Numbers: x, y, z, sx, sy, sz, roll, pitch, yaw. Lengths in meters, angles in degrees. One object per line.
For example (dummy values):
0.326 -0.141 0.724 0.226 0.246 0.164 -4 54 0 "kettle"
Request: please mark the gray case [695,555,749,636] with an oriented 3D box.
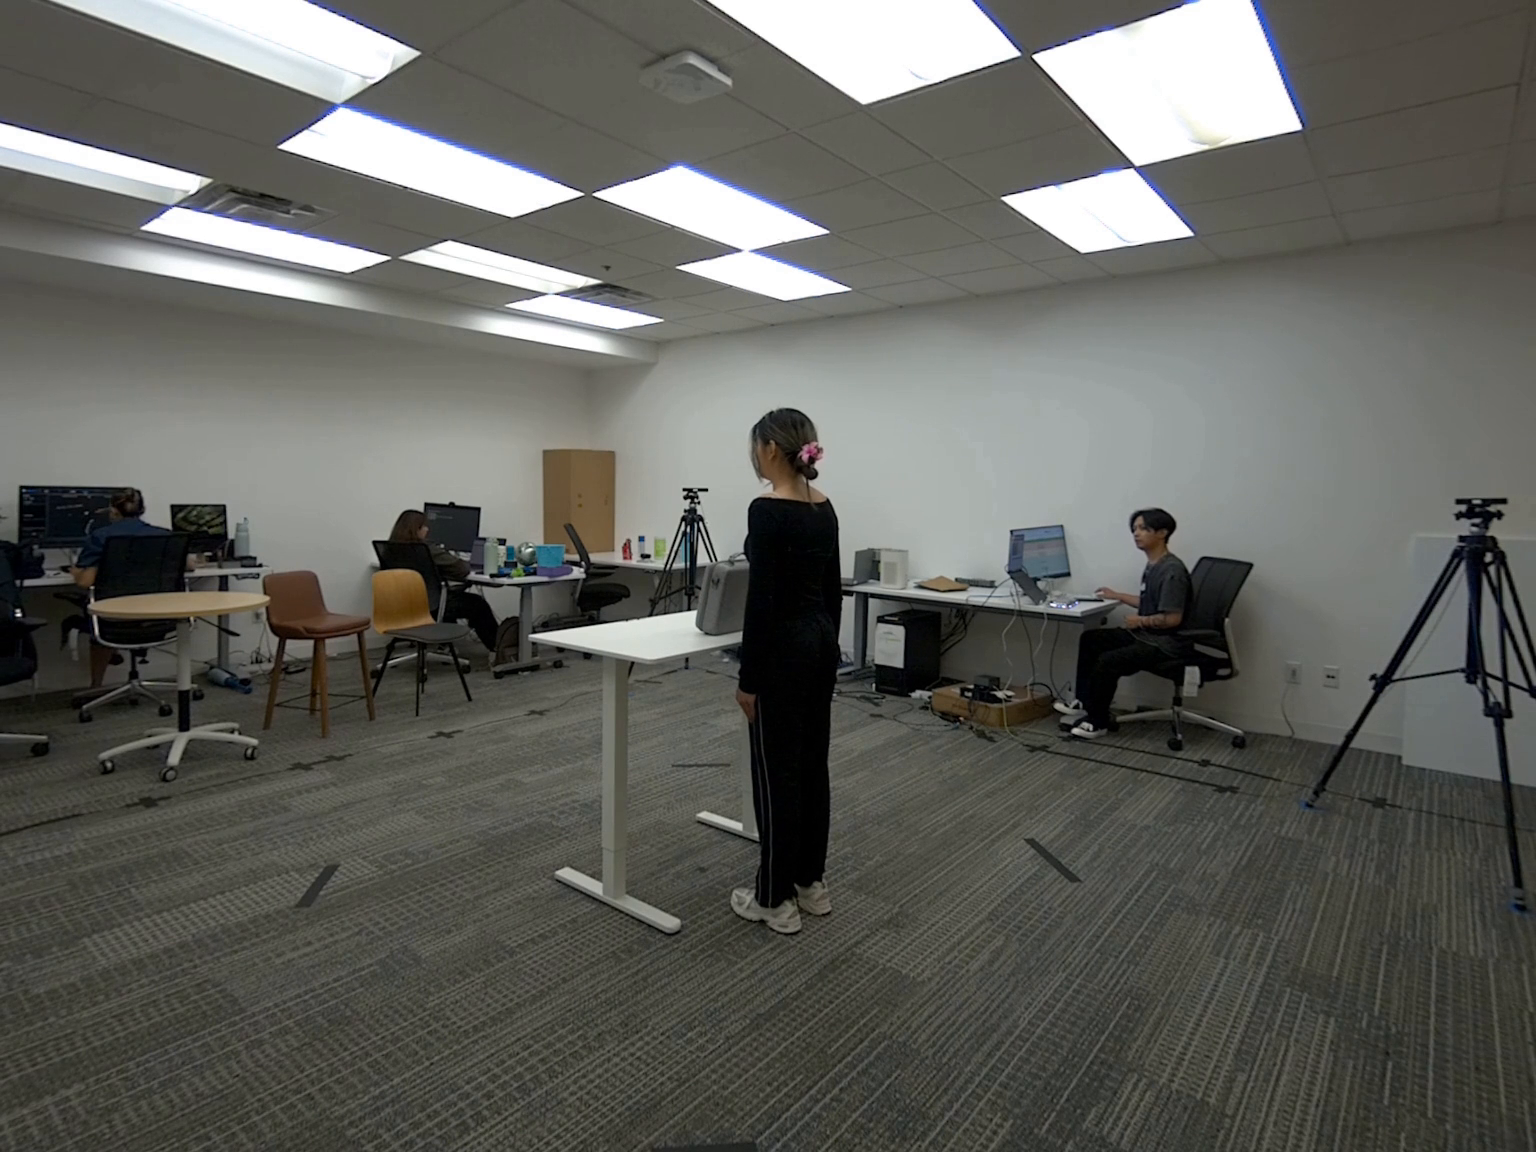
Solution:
-0.135 0.065 3.015 0.108 0.258 0.249 18 15 38 "gray case"
